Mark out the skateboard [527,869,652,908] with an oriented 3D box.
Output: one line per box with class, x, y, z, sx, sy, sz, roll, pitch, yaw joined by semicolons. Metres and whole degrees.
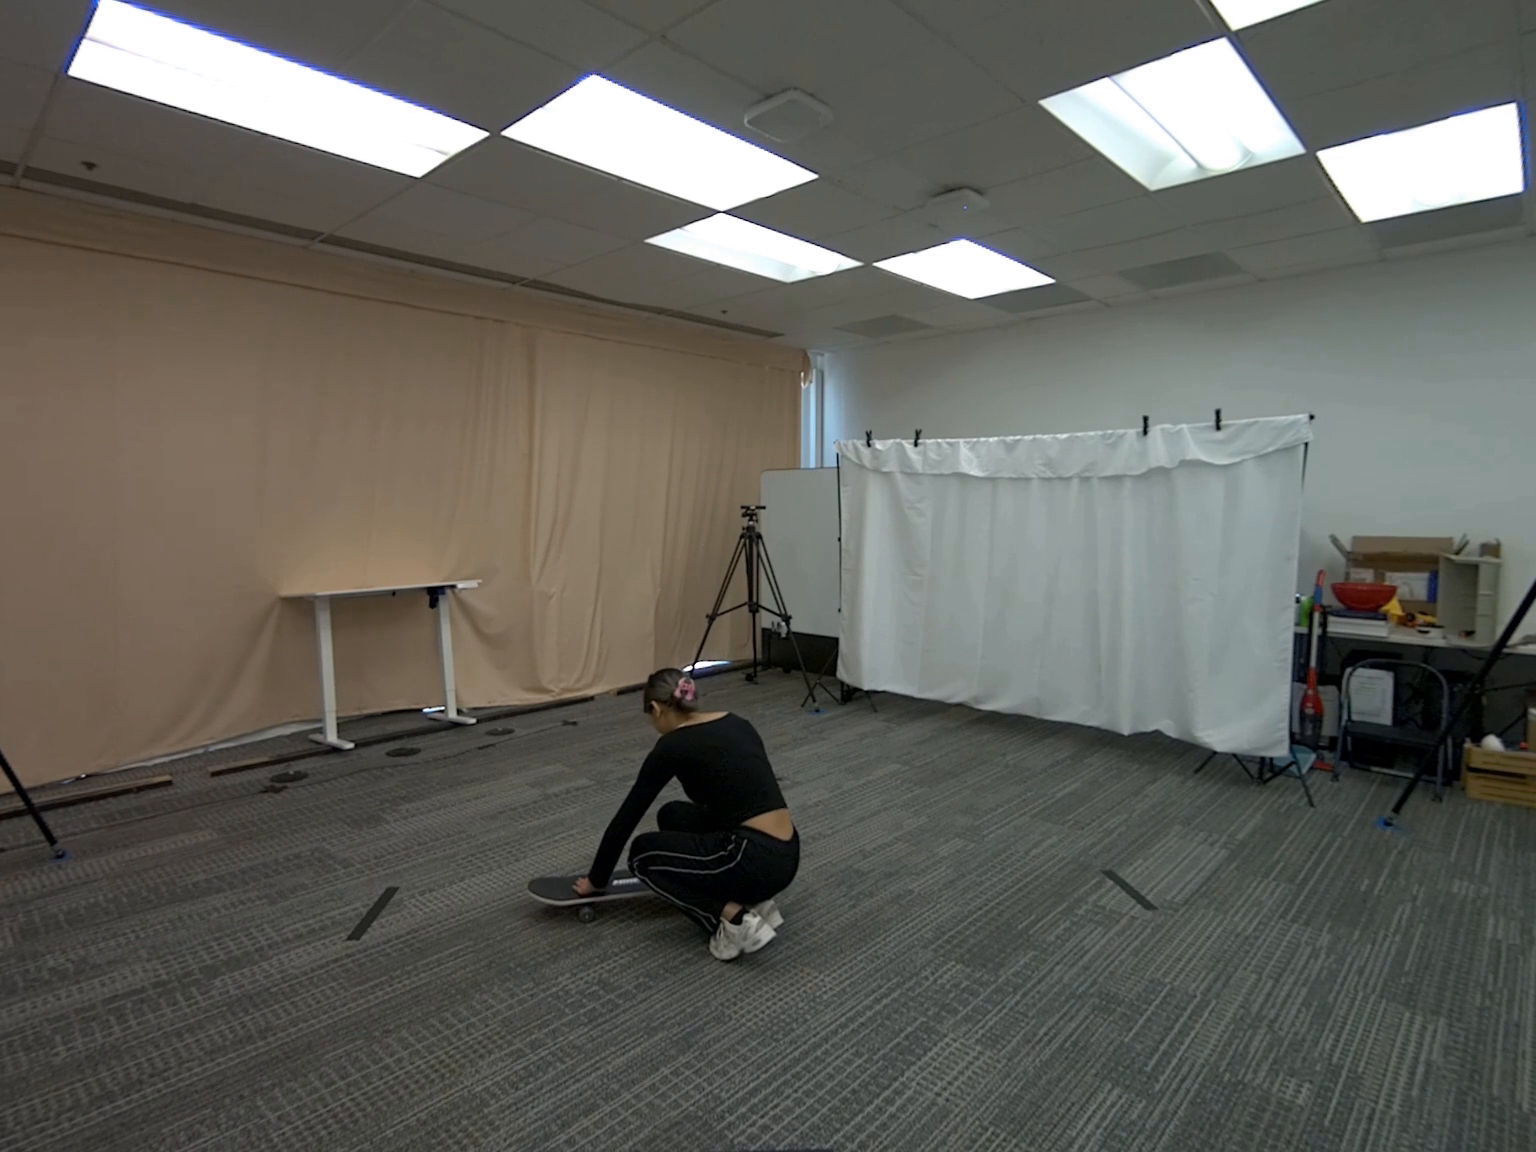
skateboard;-0.440;1.091;2.938;0.774;0.110;0.196;-1;3;-13
